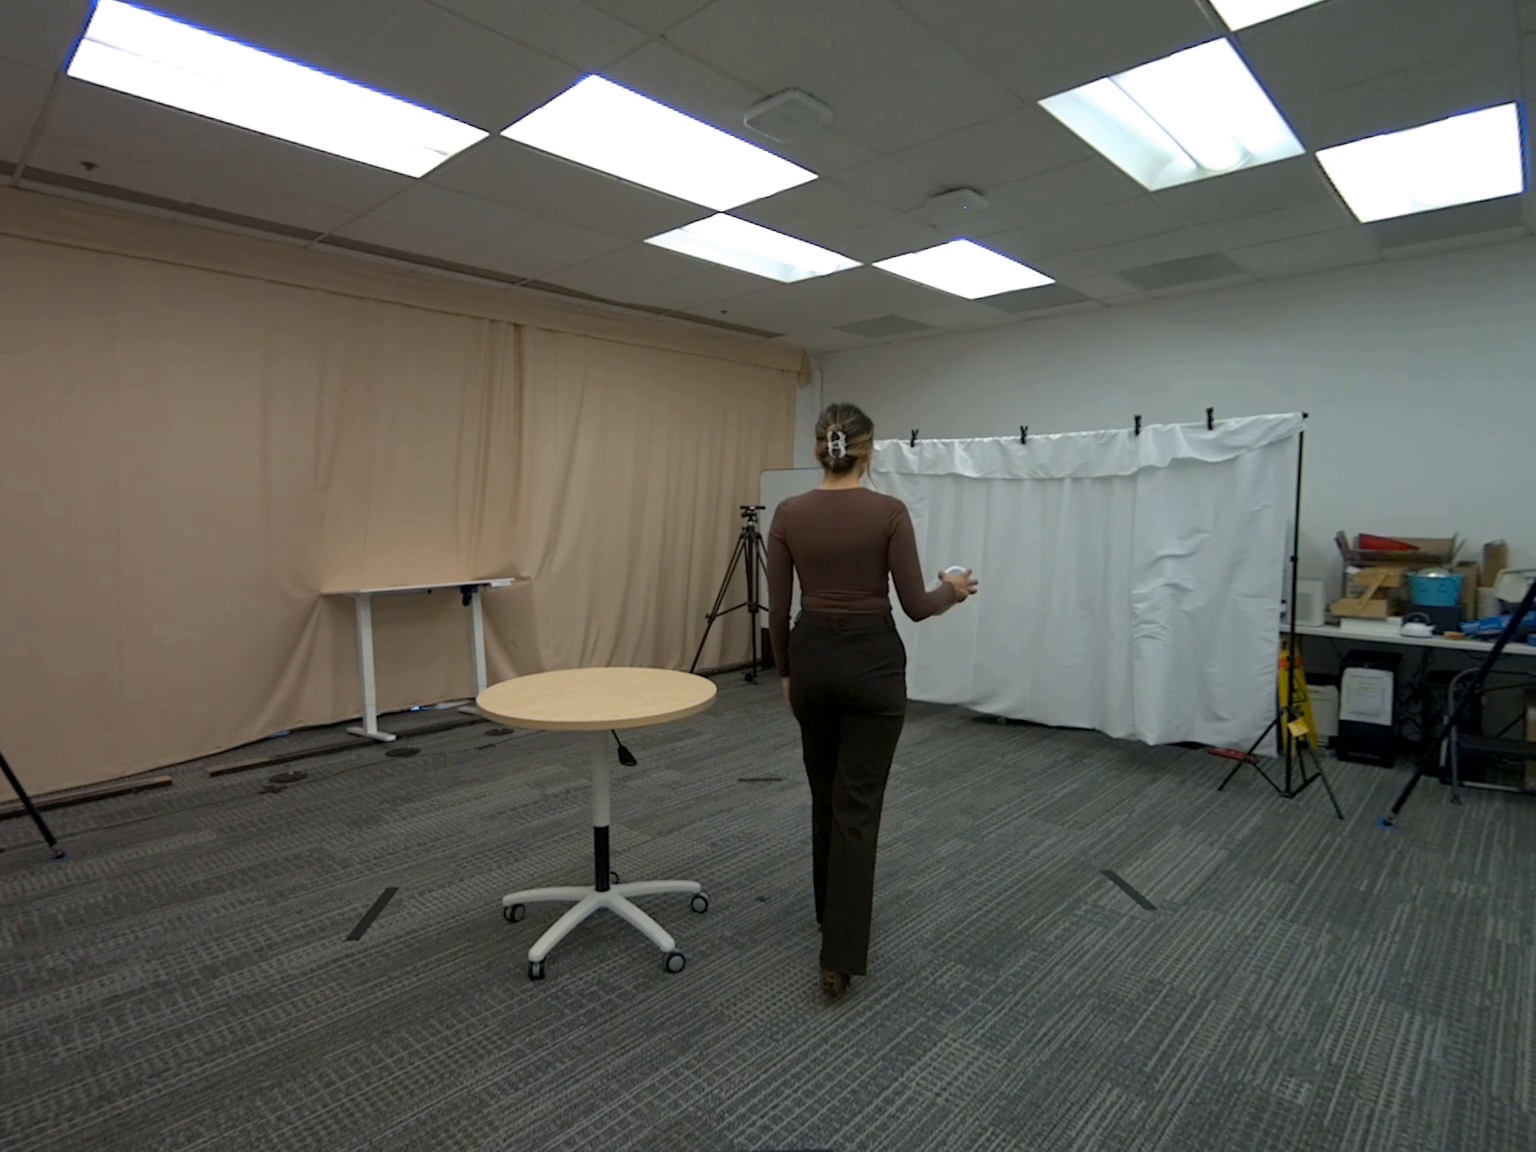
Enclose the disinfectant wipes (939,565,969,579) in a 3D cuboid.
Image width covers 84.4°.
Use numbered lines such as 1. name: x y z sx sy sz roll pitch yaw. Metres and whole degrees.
1. disinfectant wipes: 0.608 0.052 2.866 0.116 0.119 0.217 0 -21 -11
